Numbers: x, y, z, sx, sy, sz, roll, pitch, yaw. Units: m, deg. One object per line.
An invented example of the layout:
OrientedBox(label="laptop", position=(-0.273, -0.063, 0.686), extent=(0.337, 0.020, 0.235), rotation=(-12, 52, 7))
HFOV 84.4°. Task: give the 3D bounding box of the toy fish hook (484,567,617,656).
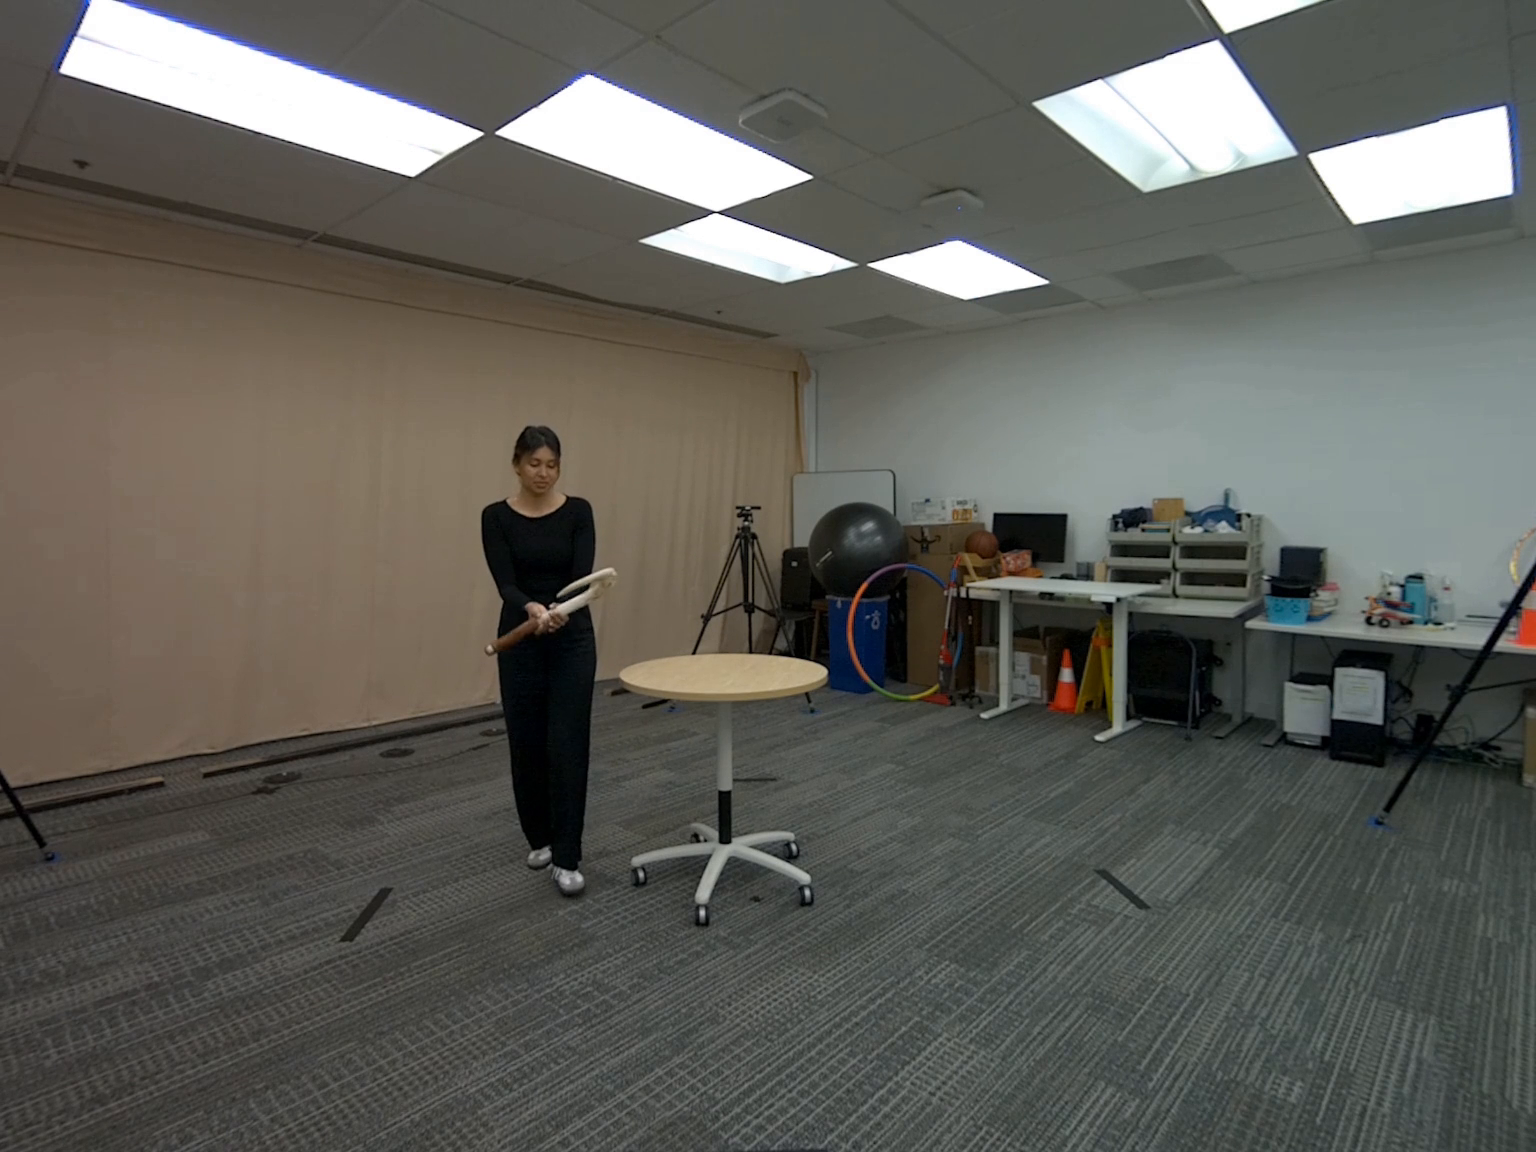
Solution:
OrientedBox(label="toy fish hook", position=(-0.719, 0.122, 2.754), extent=(0.505, 0.049, 0.221), rotation=(-32, -17, -6))
